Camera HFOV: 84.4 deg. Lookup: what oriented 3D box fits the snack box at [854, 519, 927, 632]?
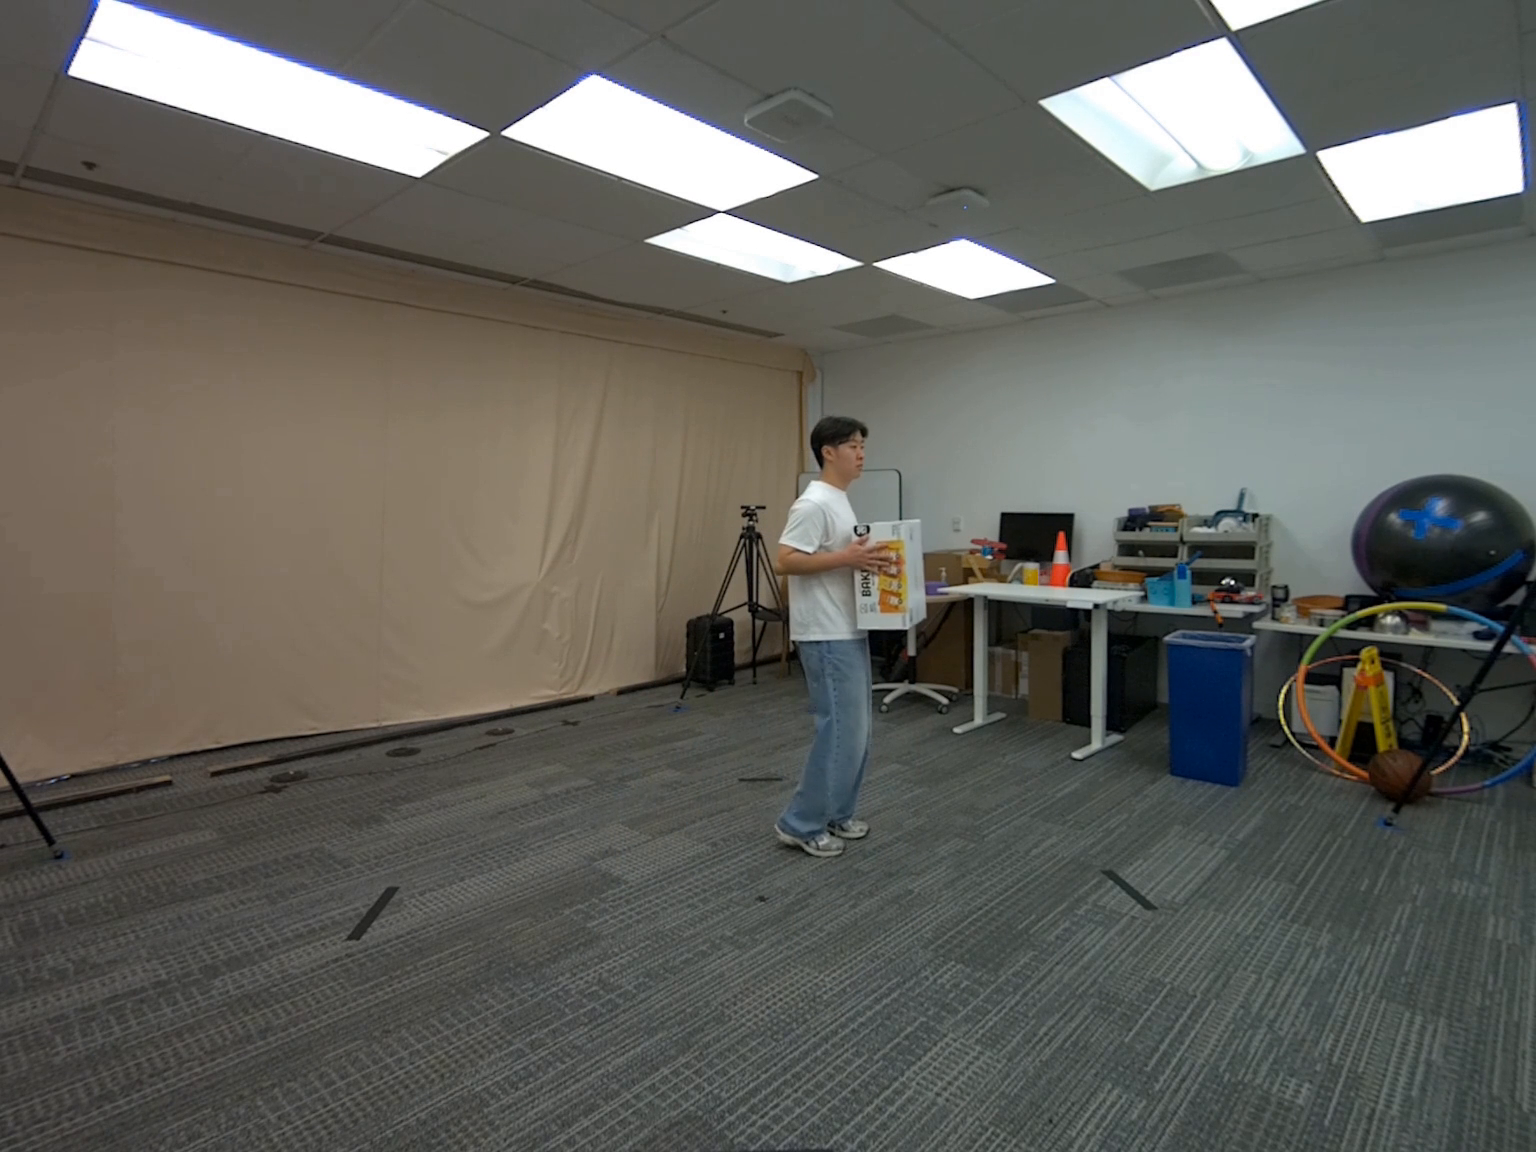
[{"bbox_3d":[0.493,-0.007,3.350,0.210,0.404,0.333,-2,3,23],"label":"snack box"}]
